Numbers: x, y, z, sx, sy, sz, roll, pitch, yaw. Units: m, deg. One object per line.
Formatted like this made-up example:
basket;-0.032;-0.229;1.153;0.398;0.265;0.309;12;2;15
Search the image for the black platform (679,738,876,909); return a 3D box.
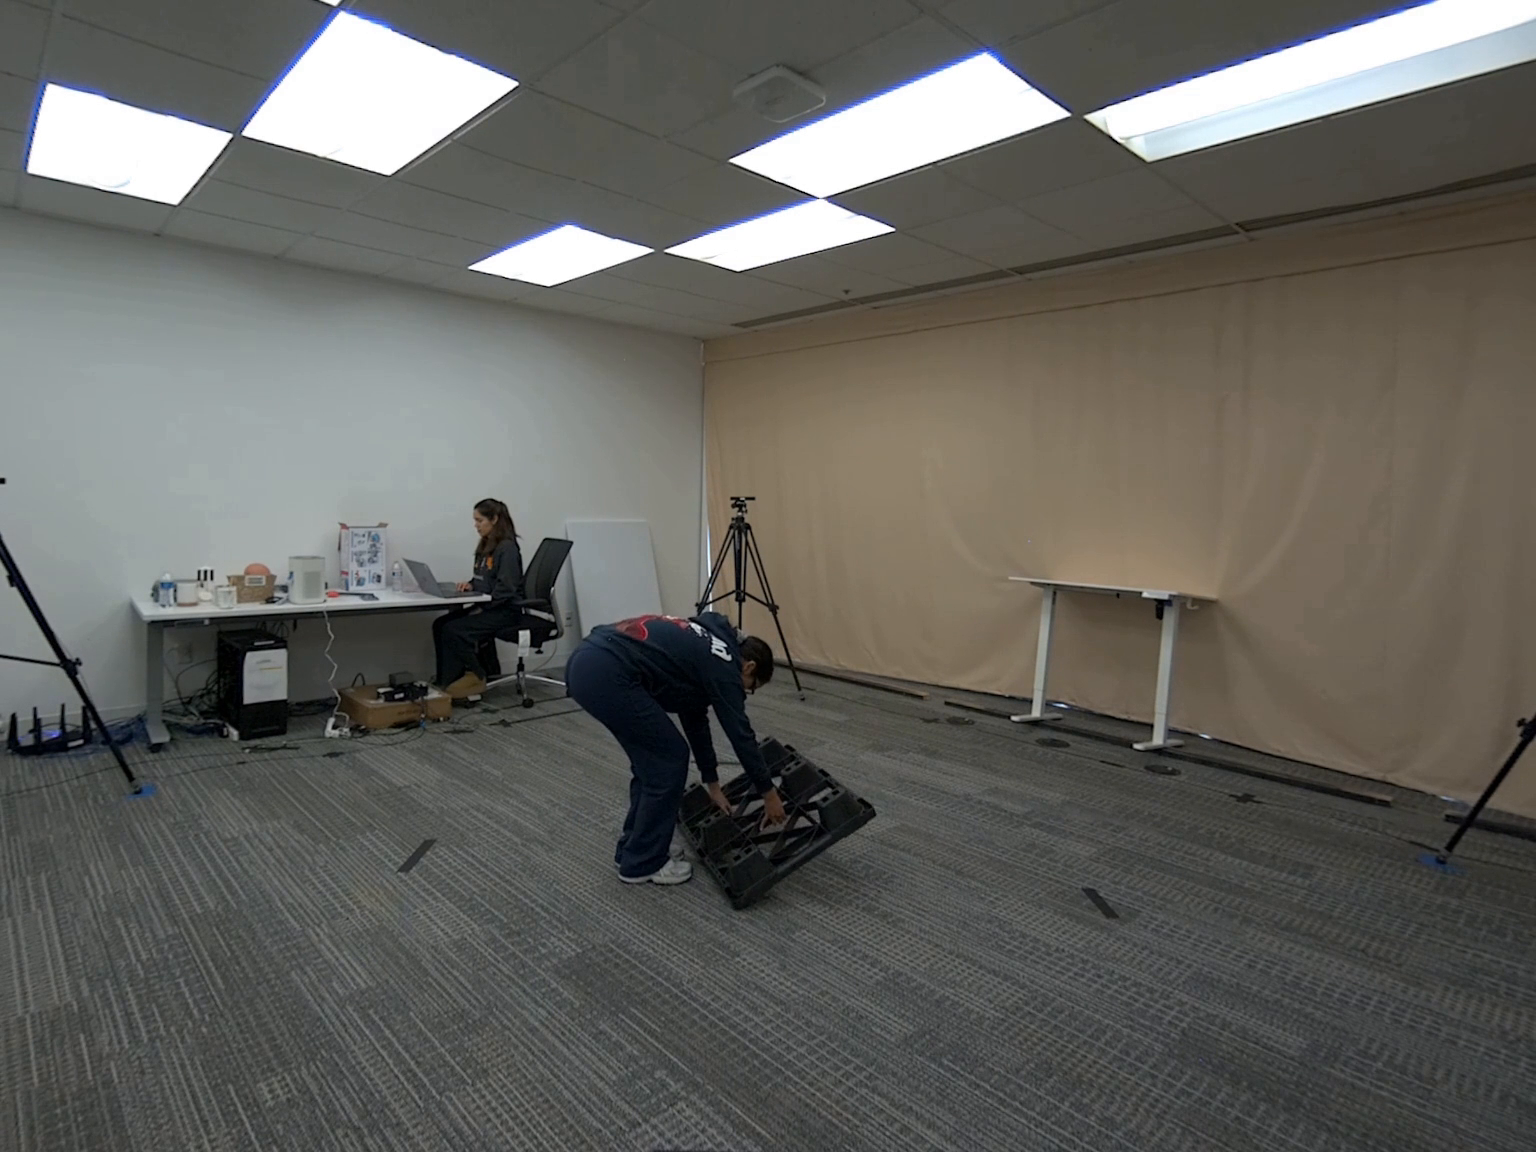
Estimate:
black platform;-0.040;0.900;3.271;0.602;0.141;0.820;-30;15;-16
